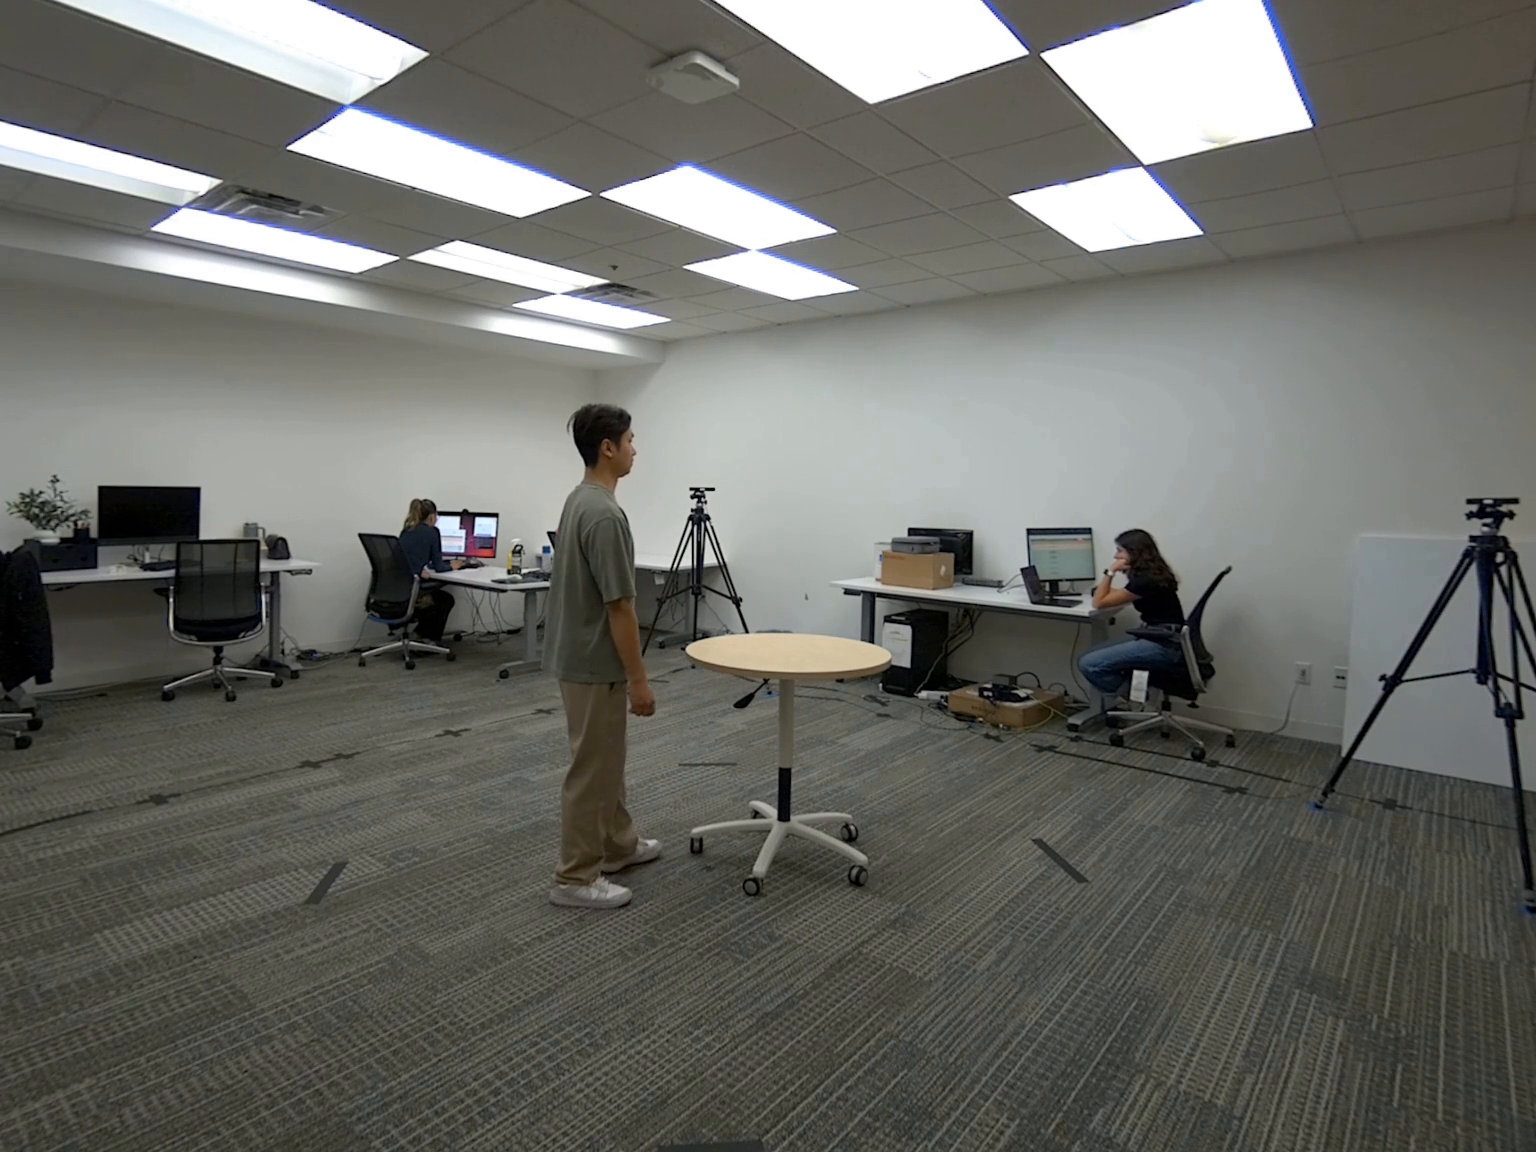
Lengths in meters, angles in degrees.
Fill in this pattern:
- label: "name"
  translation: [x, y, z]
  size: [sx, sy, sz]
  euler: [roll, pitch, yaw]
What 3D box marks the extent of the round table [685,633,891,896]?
- label: "round table"
  translation: [0.074, 0.669, 3.211]
  size: [0.784, 0.783, 0.789]
  euler: [0, 5, -2]
